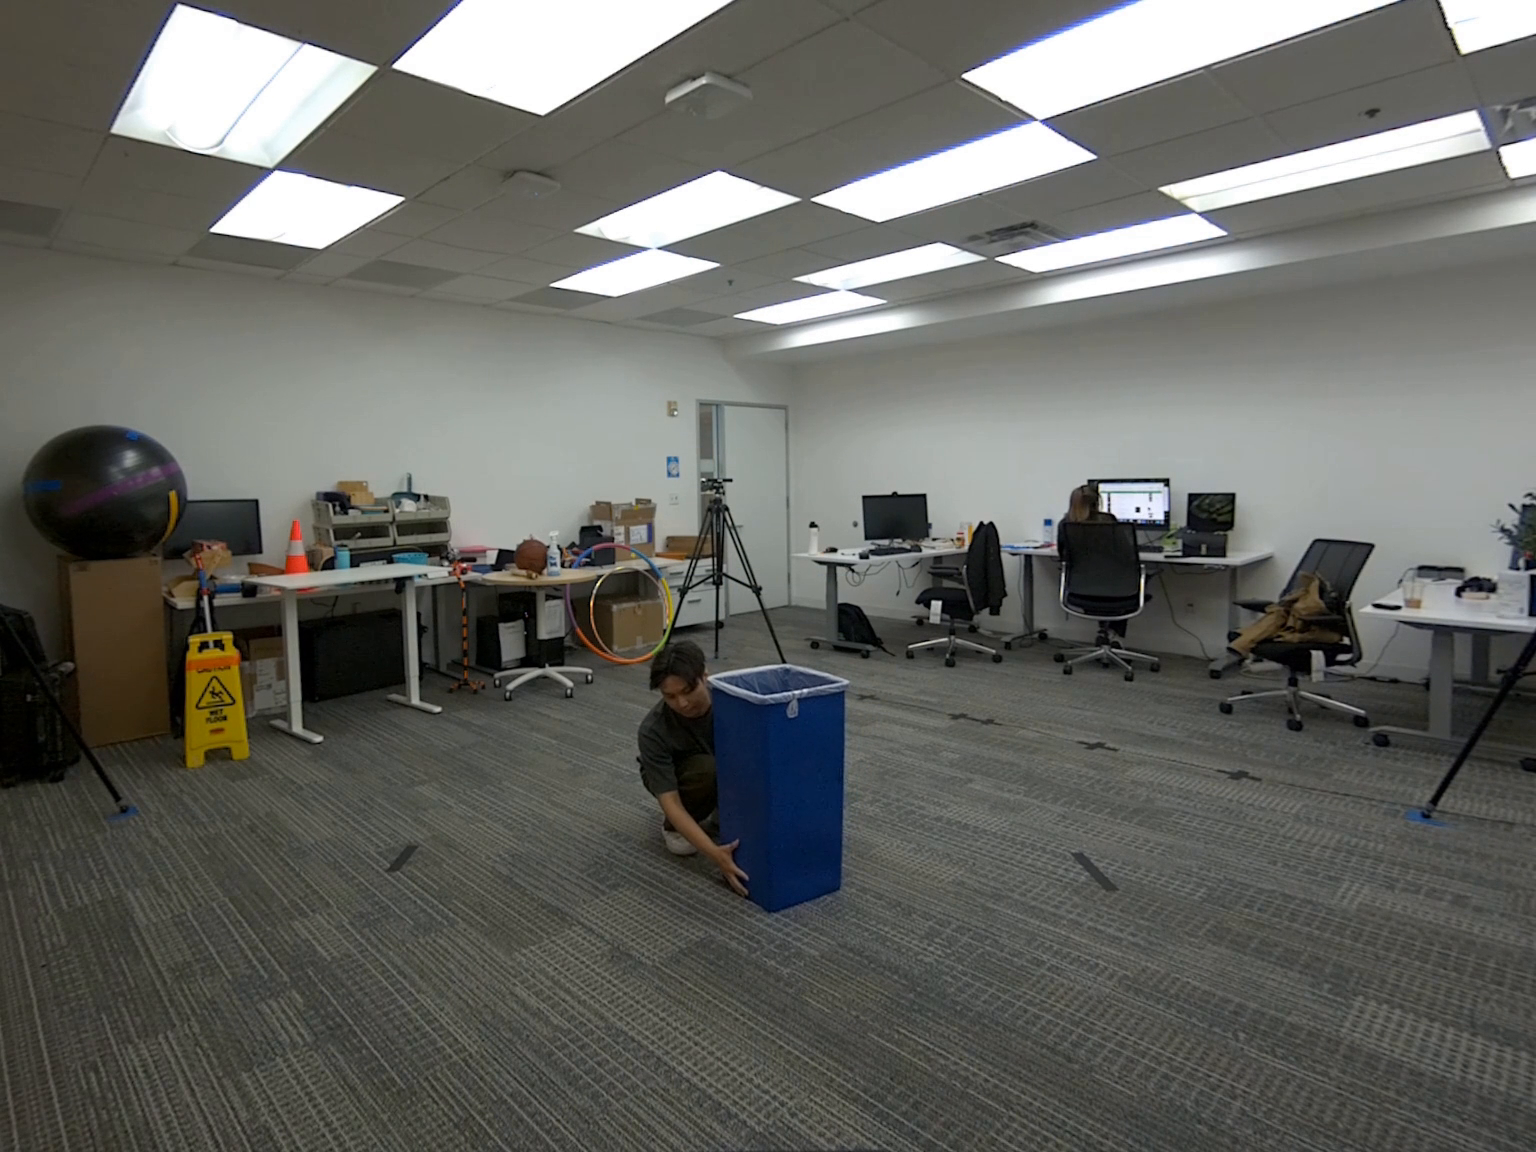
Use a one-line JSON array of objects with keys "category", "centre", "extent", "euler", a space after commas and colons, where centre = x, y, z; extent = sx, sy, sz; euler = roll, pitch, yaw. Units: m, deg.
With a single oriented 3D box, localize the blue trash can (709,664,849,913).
[{"category": "blue trash can", "centre": [0.047, 0.703, 2.930], "extent": [0.365, 0.711, 0.389], "euler": [-4, 5, -33]}]
